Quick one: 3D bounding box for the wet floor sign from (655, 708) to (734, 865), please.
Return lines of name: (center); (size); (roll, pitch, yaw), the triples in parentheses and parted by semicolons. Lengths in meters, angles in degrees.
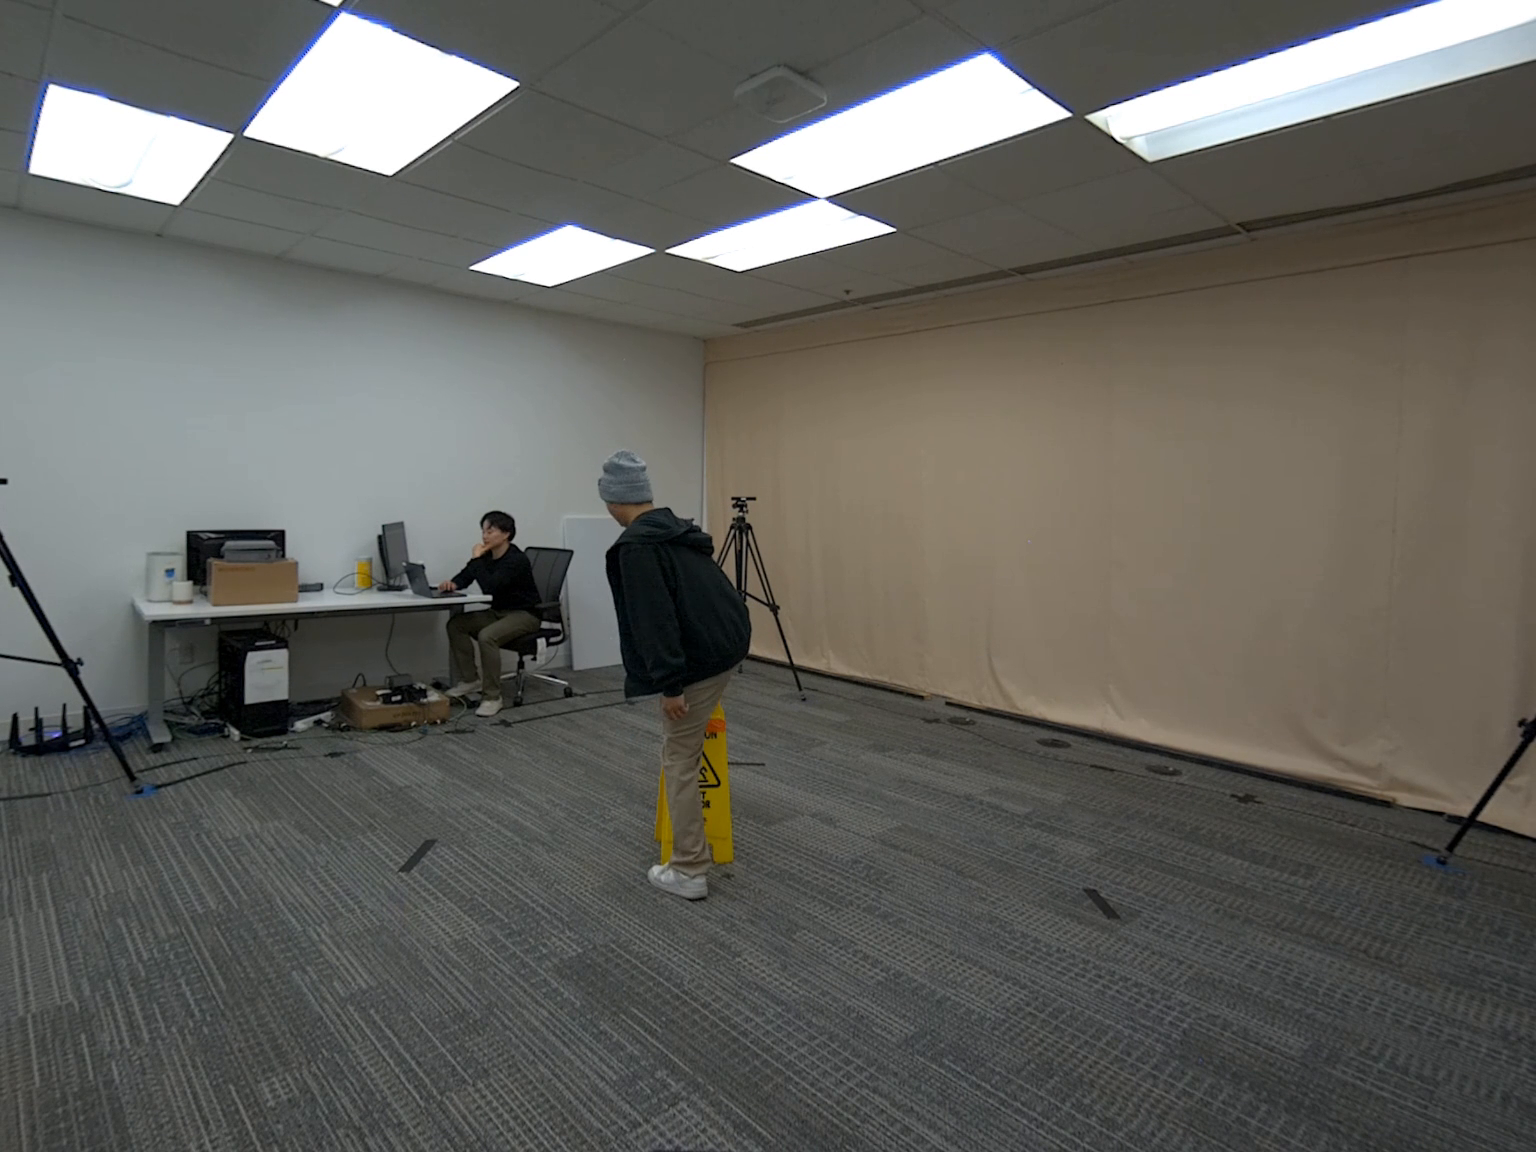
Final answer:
wet floor sign: (-0.296, 0.762, 3.309); (0.280, 0.645, 0.293); (2, 3, -10)
